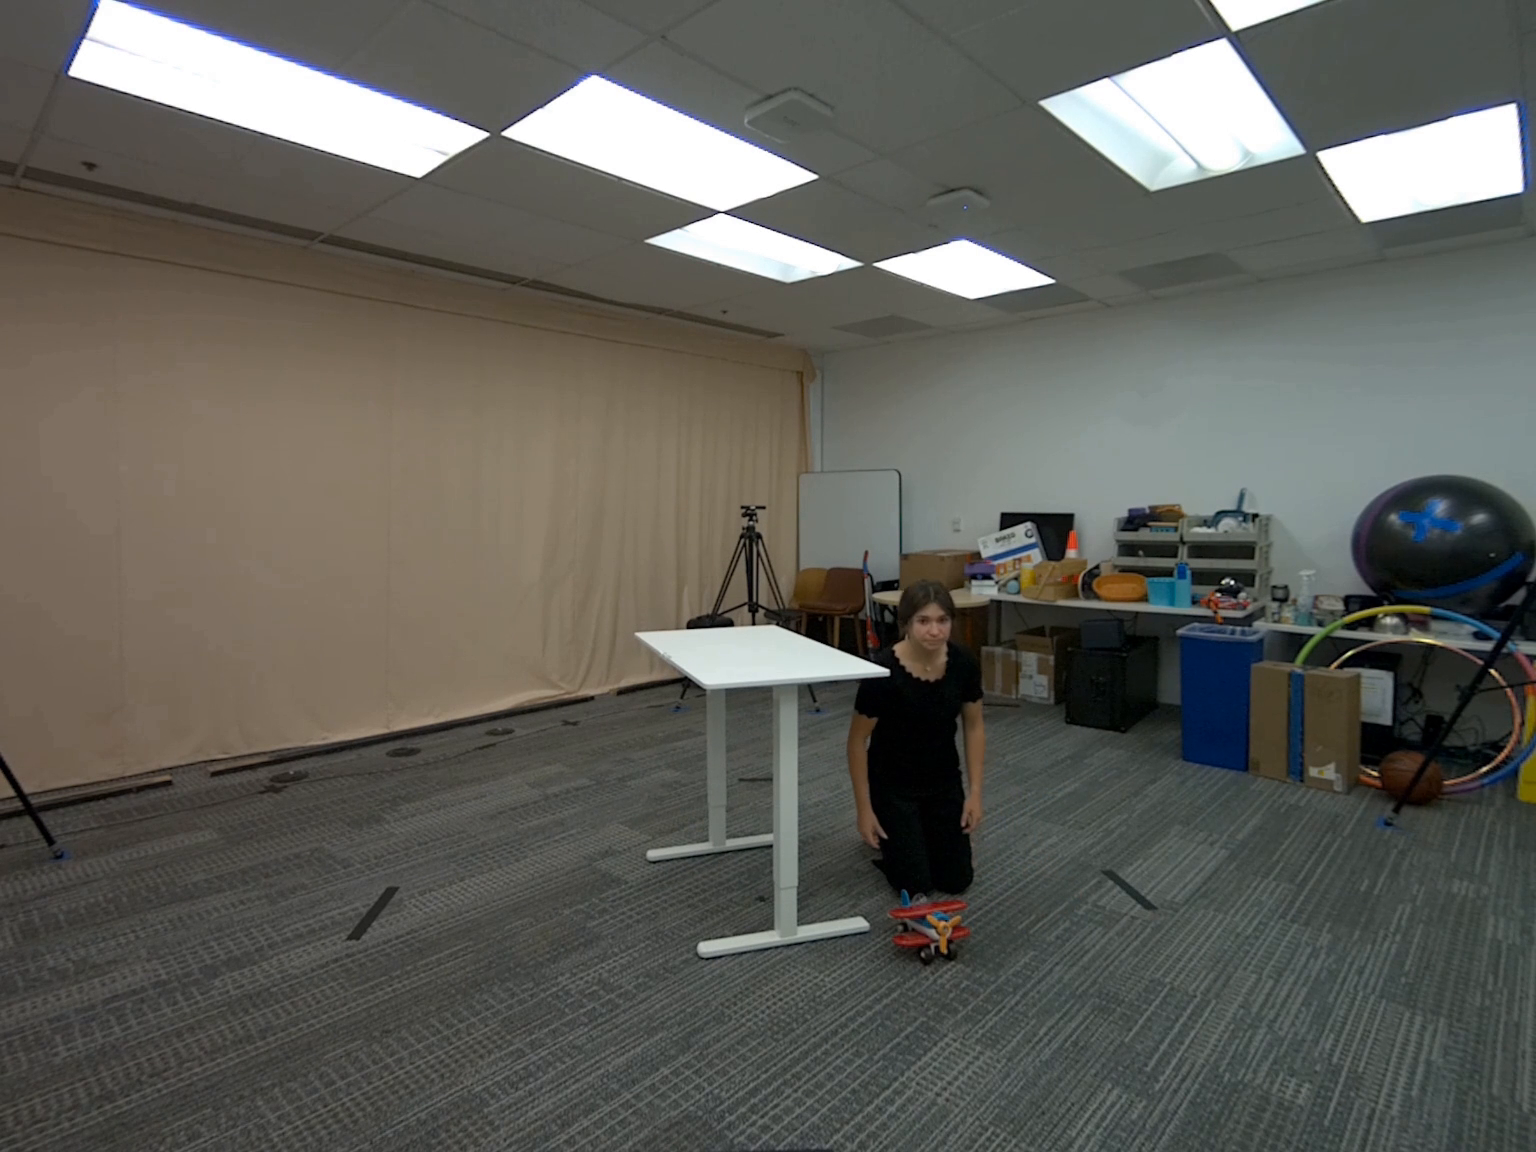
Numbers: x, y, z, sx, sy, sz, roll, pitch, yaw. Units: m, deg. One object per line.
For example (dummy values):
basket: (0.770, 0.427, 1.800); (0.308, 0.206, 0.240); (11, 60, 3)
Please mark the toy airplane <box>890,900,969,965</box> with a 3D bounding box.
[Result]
toy airplane: (0.473, 1.087, 2.648); (0.268, 0.156, 0.243); (6, 7, 43)
